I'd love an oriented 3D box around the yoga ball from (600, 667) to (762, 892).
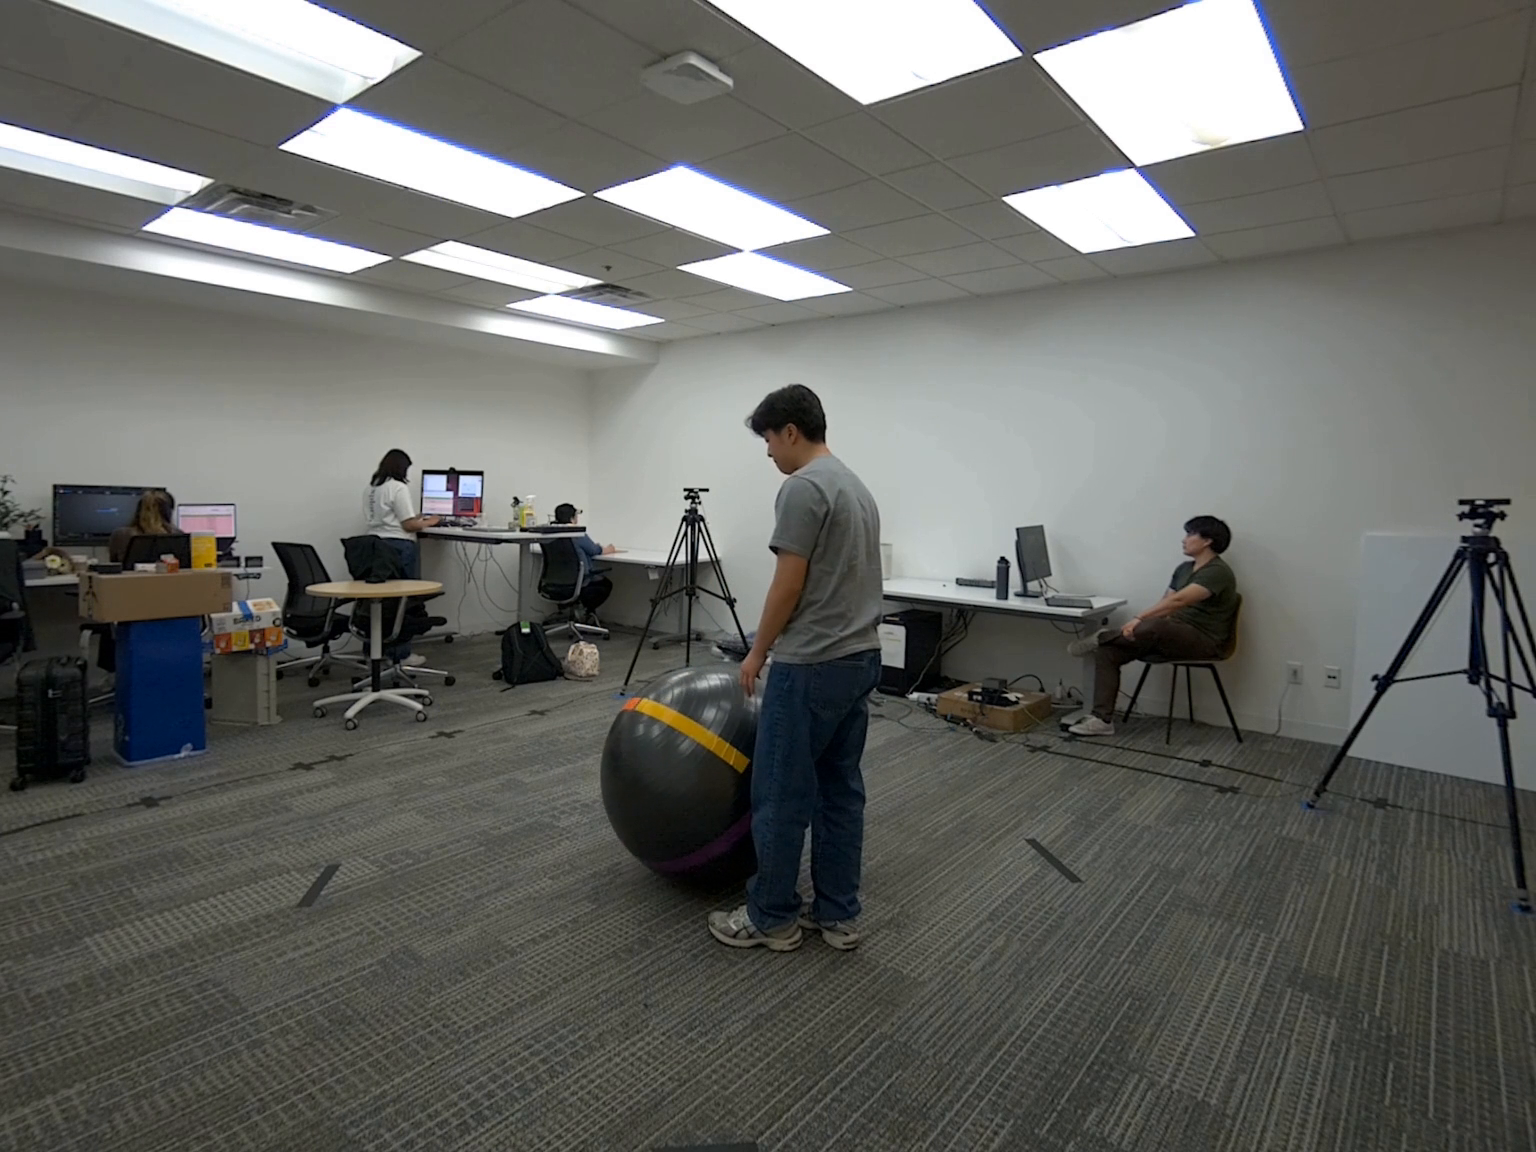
[{"bbox_3d":[-0.240,0.706,3.055,0.757,0.755,0.762,1,4,-2],"label":"yoga ball"}]
